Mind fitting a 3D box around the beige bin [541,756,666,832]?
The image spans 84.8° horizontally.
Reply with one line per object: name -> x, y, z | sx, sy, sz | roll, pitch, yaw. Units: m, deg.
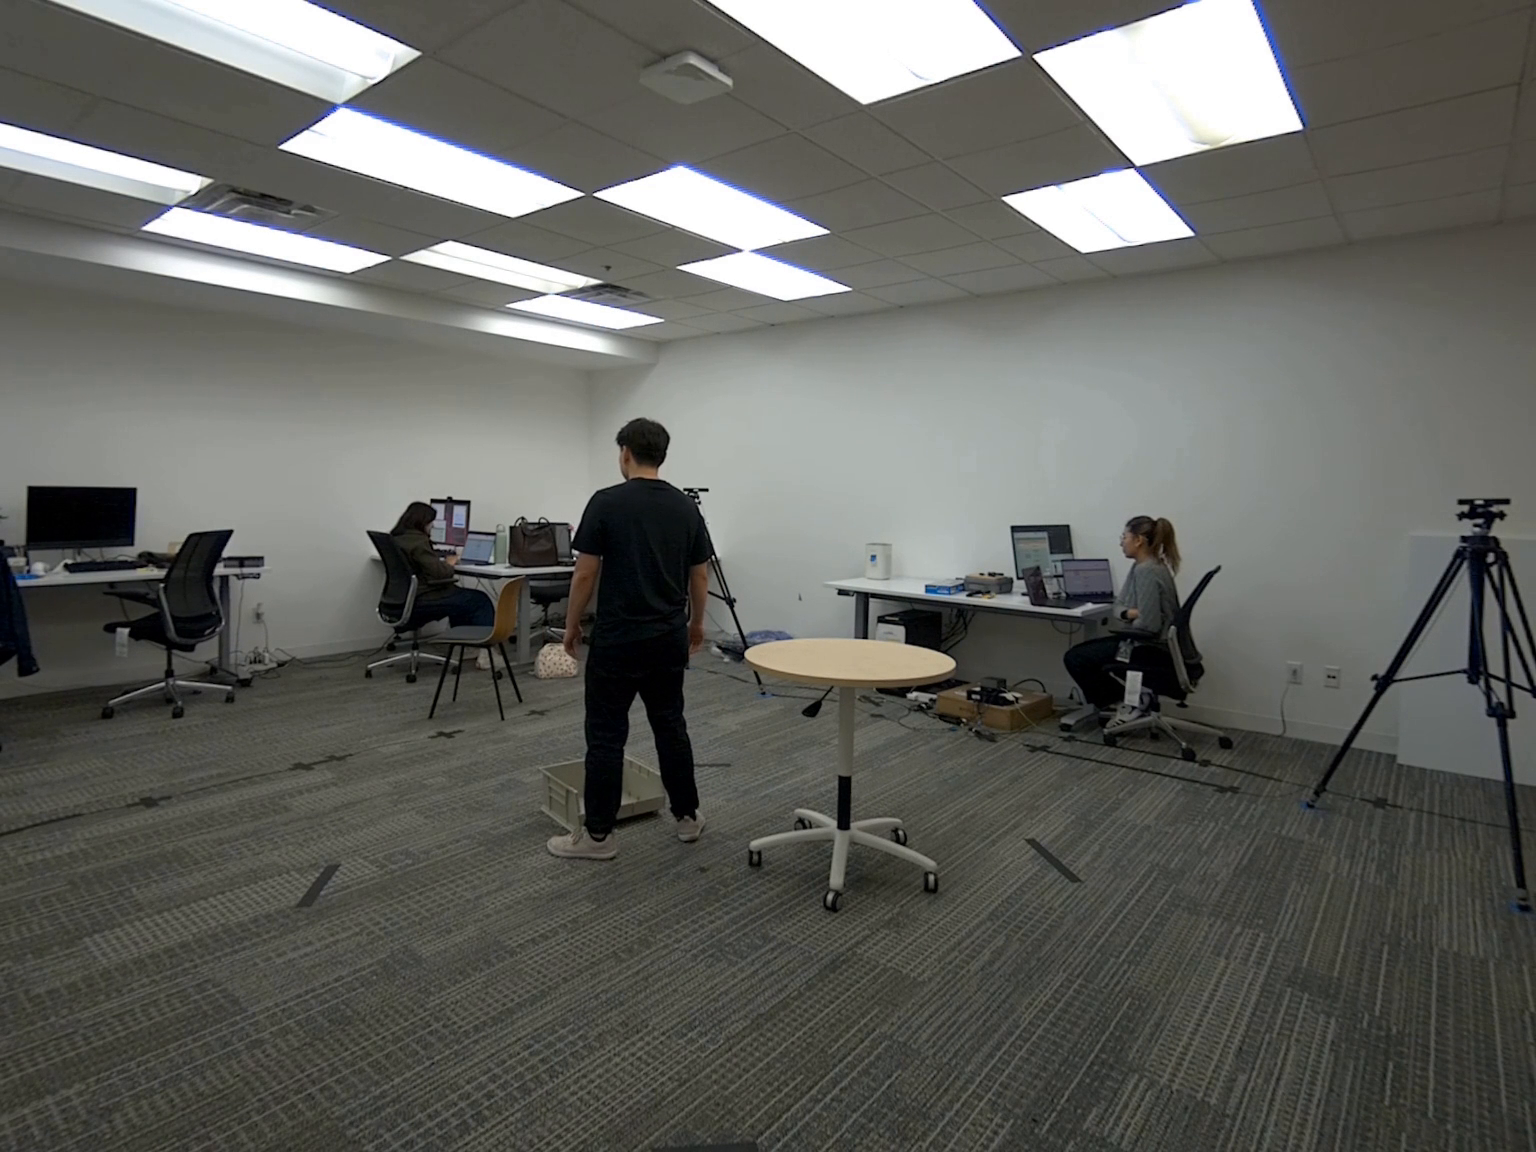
beige bin -> -0.724, 0.922, 3.642 | 0.410, 0.188, 0.390 | -4, 6, -37
